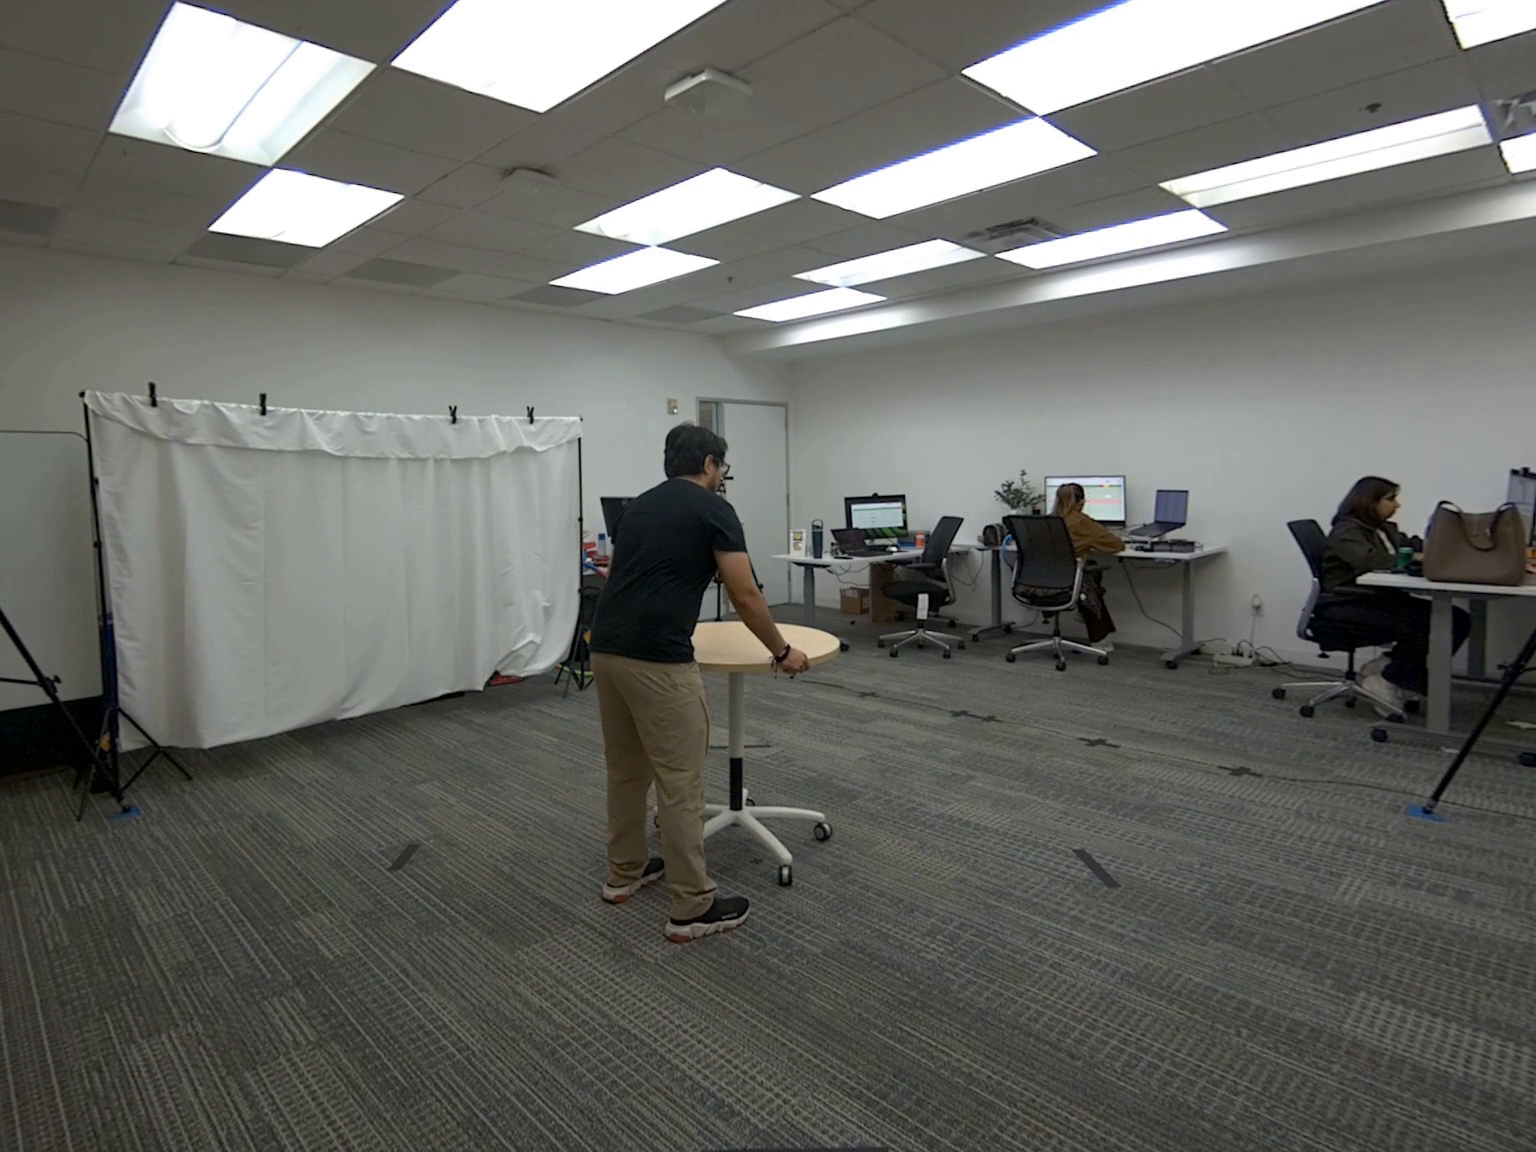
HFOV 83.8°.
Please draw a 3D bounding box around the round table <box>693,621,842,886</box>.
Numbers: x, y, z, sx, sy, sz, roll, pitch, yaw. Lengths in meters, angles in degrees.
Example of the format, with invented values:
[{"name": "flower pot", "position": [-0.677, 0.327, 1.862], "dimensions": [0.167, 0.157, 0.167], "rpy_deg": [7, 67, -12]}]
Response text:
[{"name": "round table", "position": [-0.124, 0.623, 3.219], "dimensions": [0.784, 0.783, 0.790], "rpy_deg": [0, 6, -2]}]
